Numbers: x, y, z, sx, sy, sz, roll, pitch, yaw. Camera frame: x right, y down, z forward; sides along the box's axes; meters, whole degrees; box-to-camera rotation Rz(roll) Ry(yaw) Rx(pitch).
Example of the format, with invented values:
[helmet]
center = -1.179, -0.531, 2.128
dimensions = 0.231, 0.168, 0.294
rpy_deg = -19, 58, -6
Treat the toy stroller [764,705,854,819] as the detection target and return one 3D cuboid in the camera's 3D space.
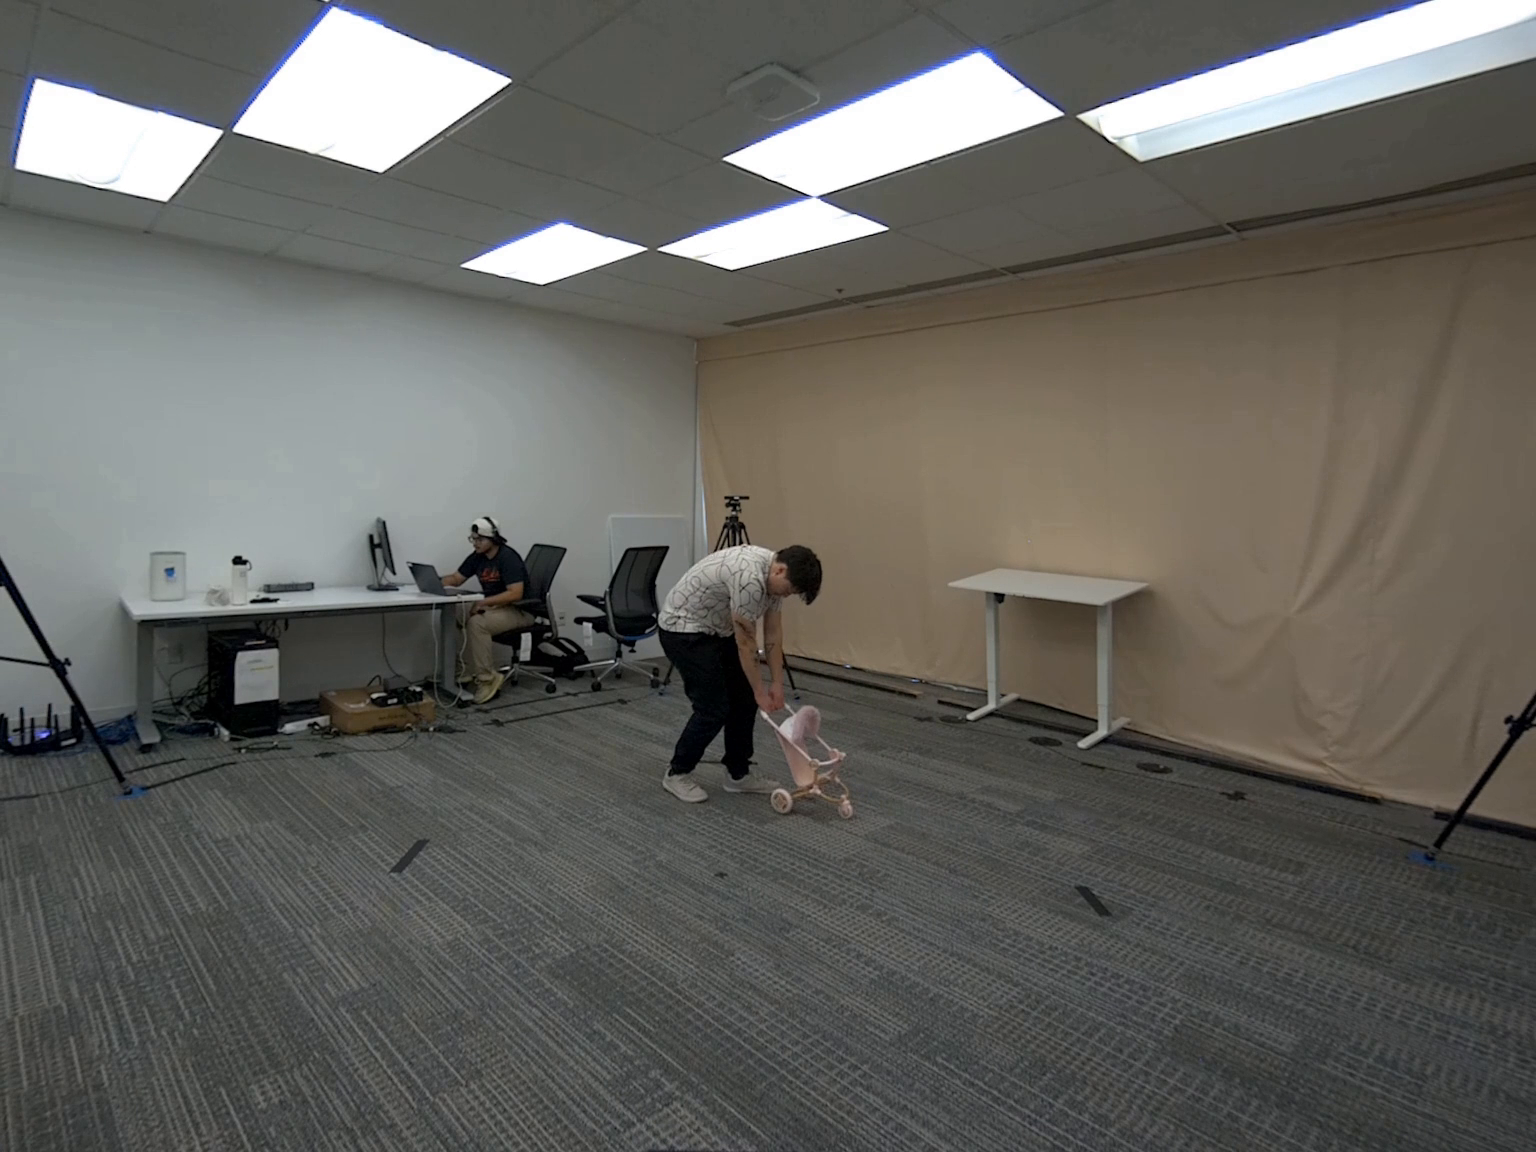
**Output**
[toy stroller]
center = 0.177, 0.824, 3.789
dimensions = 0.347, 0.538, 0.275
rpy_deg = -14, -6, 37
